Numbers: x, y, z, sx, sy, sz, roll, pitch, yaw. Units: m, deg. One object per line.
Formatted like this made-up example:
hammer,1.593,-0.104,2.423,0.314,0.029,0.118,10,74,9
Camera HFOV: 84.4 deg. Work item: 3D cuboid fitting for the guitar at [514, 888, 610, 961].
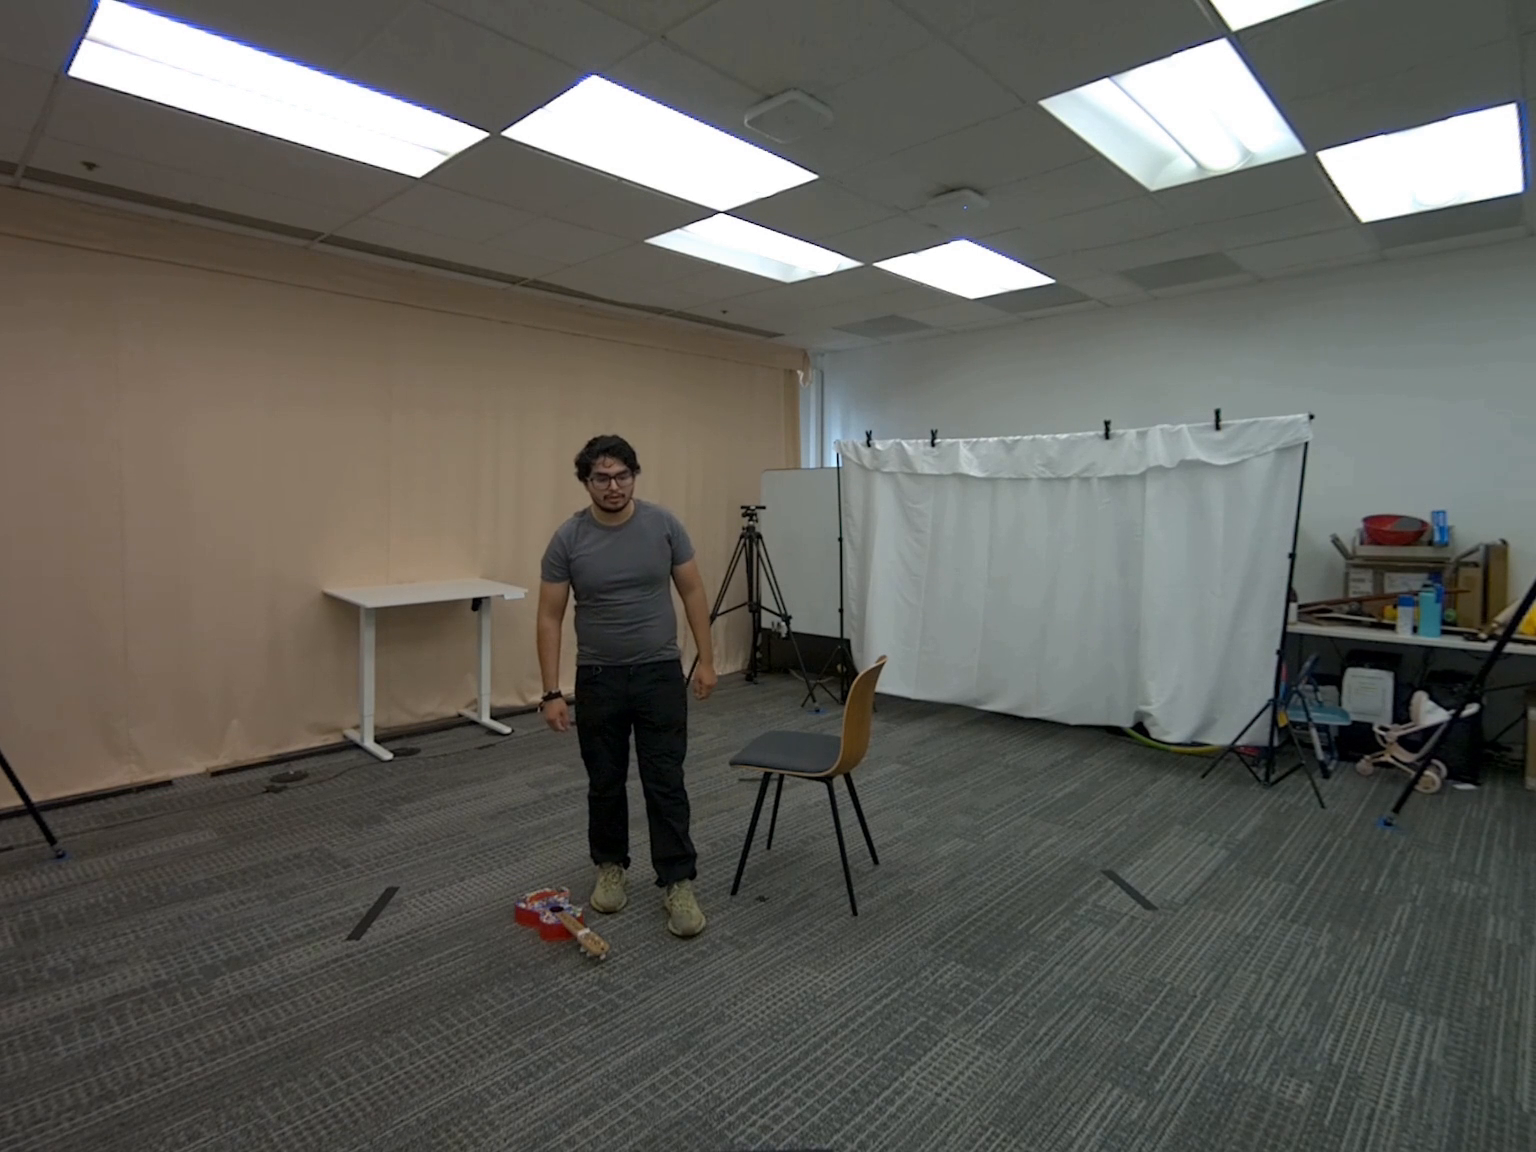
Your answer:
guitar,-0.676,1.138,2.716,0.188,0.070,0.512,-2,5,-29
